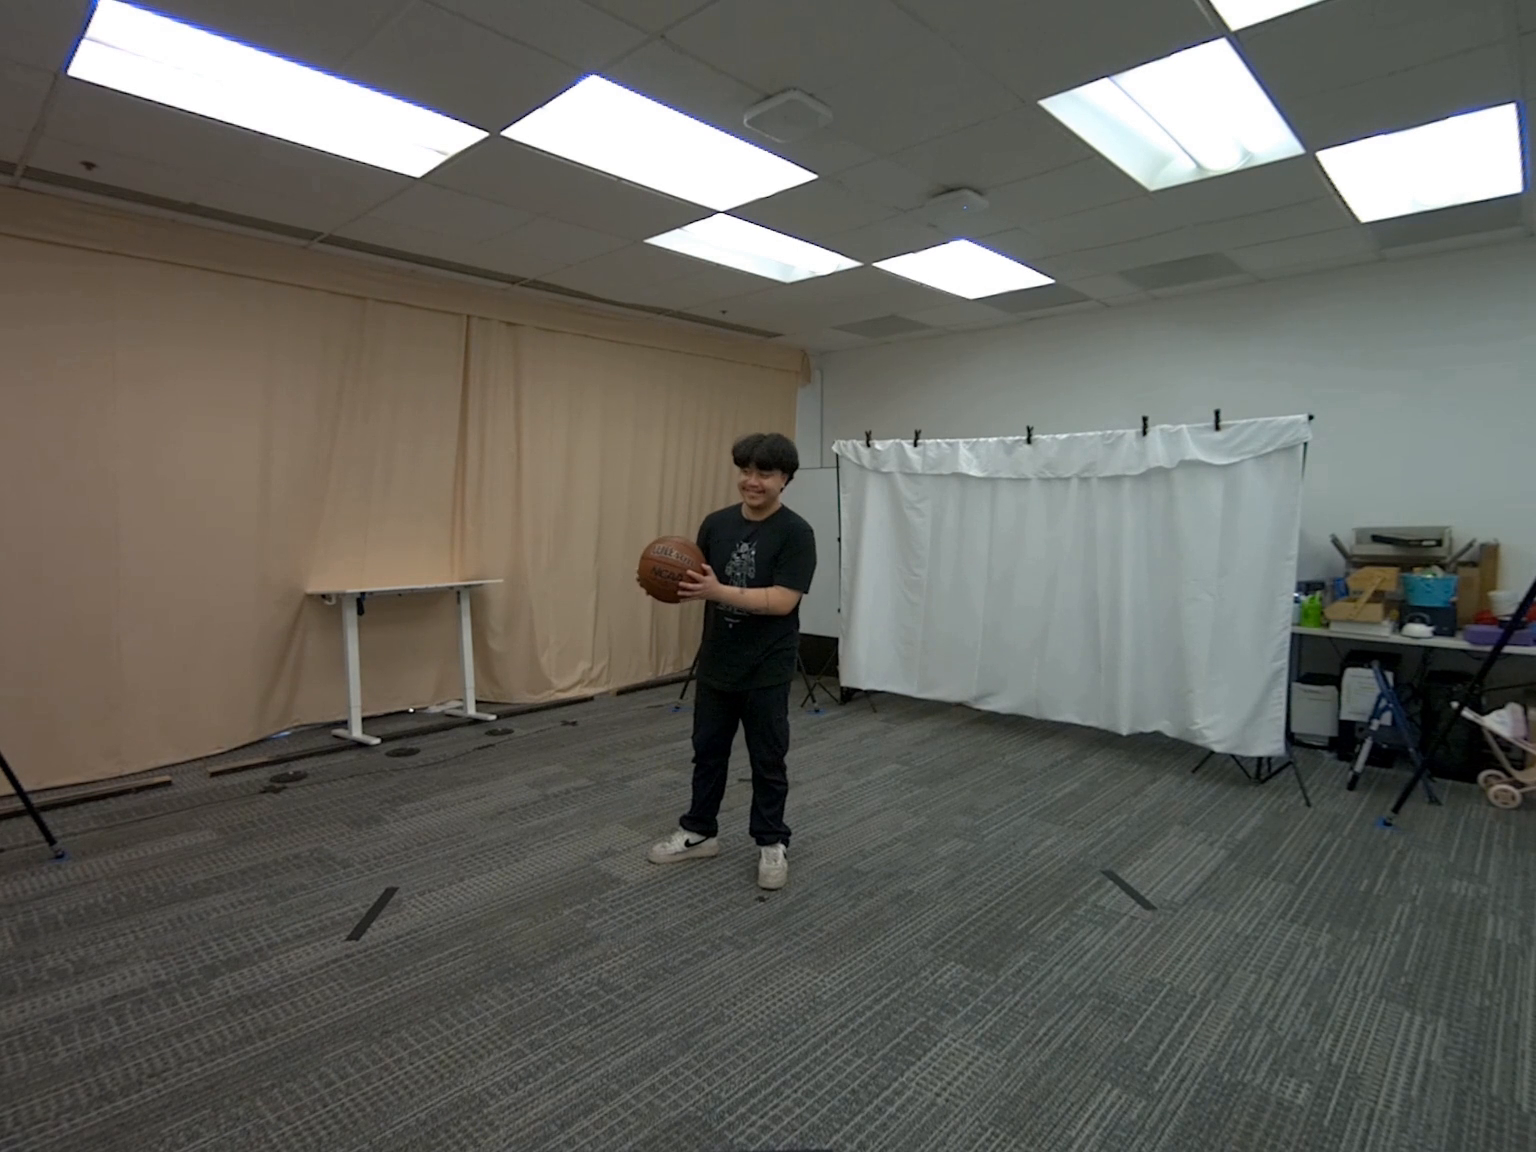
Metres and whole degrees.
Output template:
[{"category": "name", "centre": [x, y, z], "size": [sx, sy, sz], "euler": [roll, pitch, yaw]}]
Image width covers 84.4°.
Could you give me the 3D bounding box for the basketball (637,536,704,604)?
[{"category": "basketball", "centre": [-0.332, -0.022, 2.951], "size": [0.236, 0.235, 0.237], "euler": [0, 4, -2]}]
